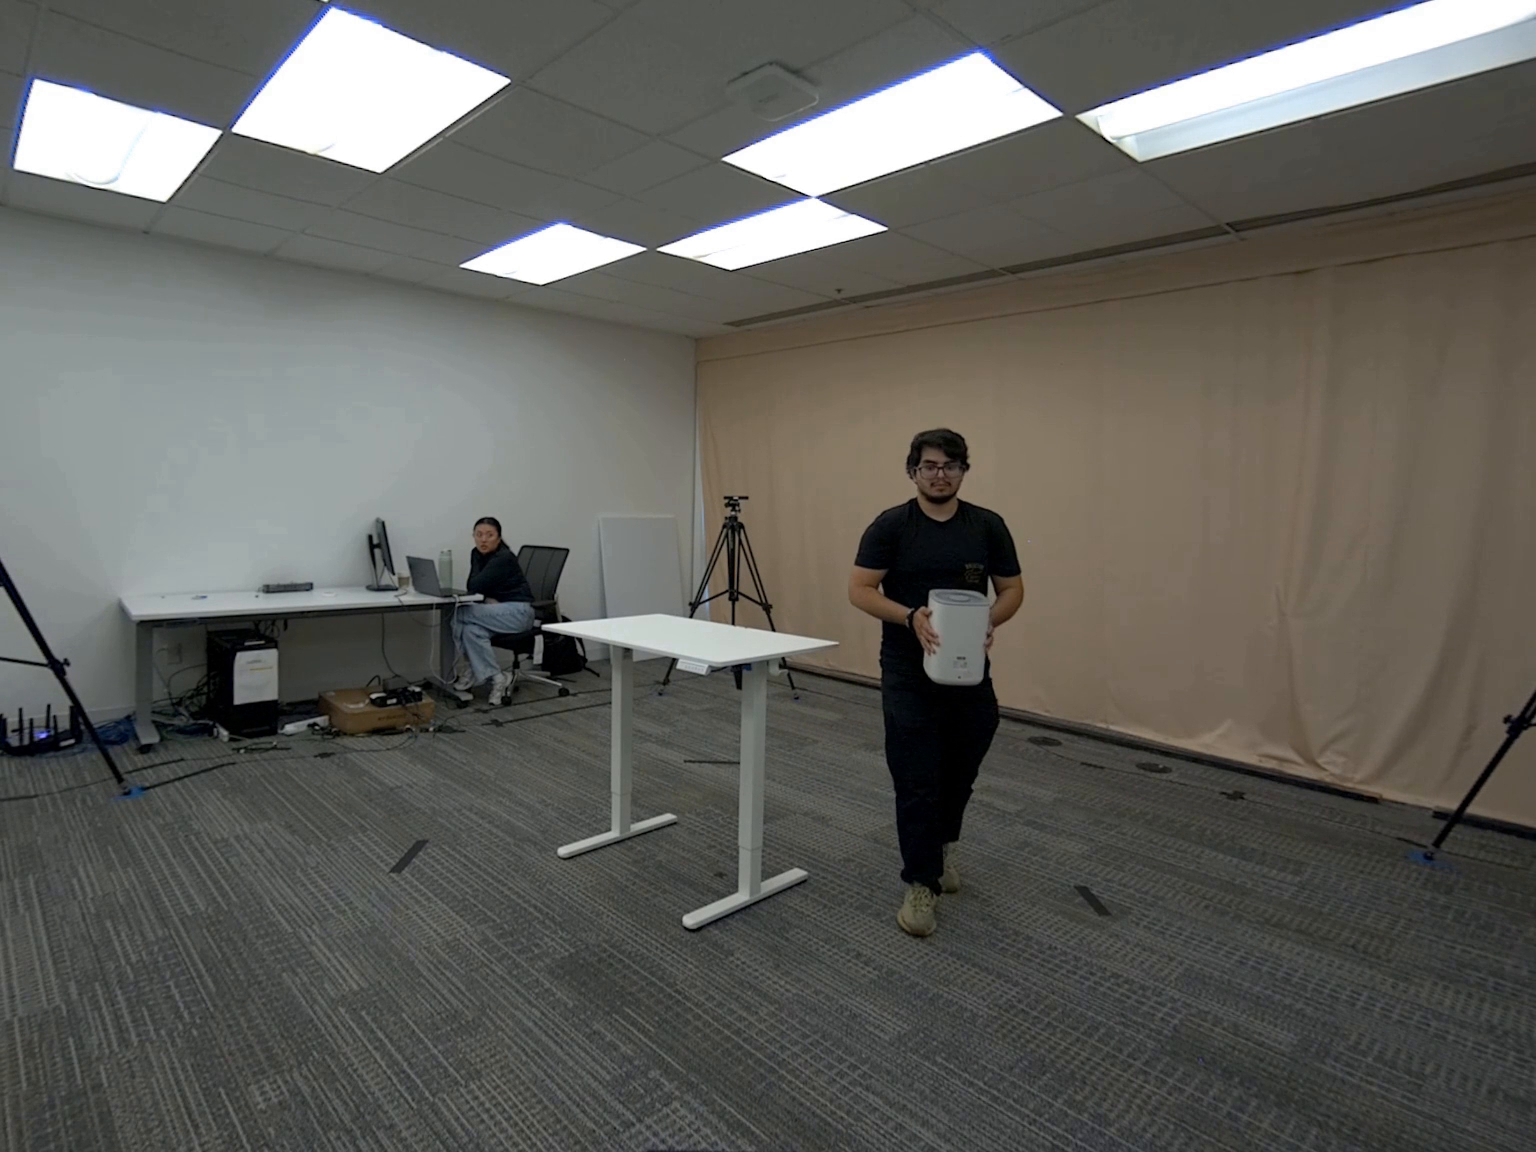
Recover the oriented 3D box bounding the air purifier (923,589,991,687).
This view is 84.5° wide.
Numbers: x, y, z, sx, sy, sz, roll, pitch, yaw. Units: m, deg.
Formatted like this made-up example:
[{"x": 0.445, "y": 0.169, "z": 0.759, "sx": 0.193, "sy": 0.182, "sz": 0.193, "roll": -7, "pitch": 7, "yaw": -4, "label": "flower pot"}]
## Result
[{"x": 0.571, "y": 0.194, "z": 2.614, "sx": 0.171, "sy": 0.263, "sz": 0.173, "roll": 3, "pitch": 12, "yaw": -1, "label": "air purifier"}]
